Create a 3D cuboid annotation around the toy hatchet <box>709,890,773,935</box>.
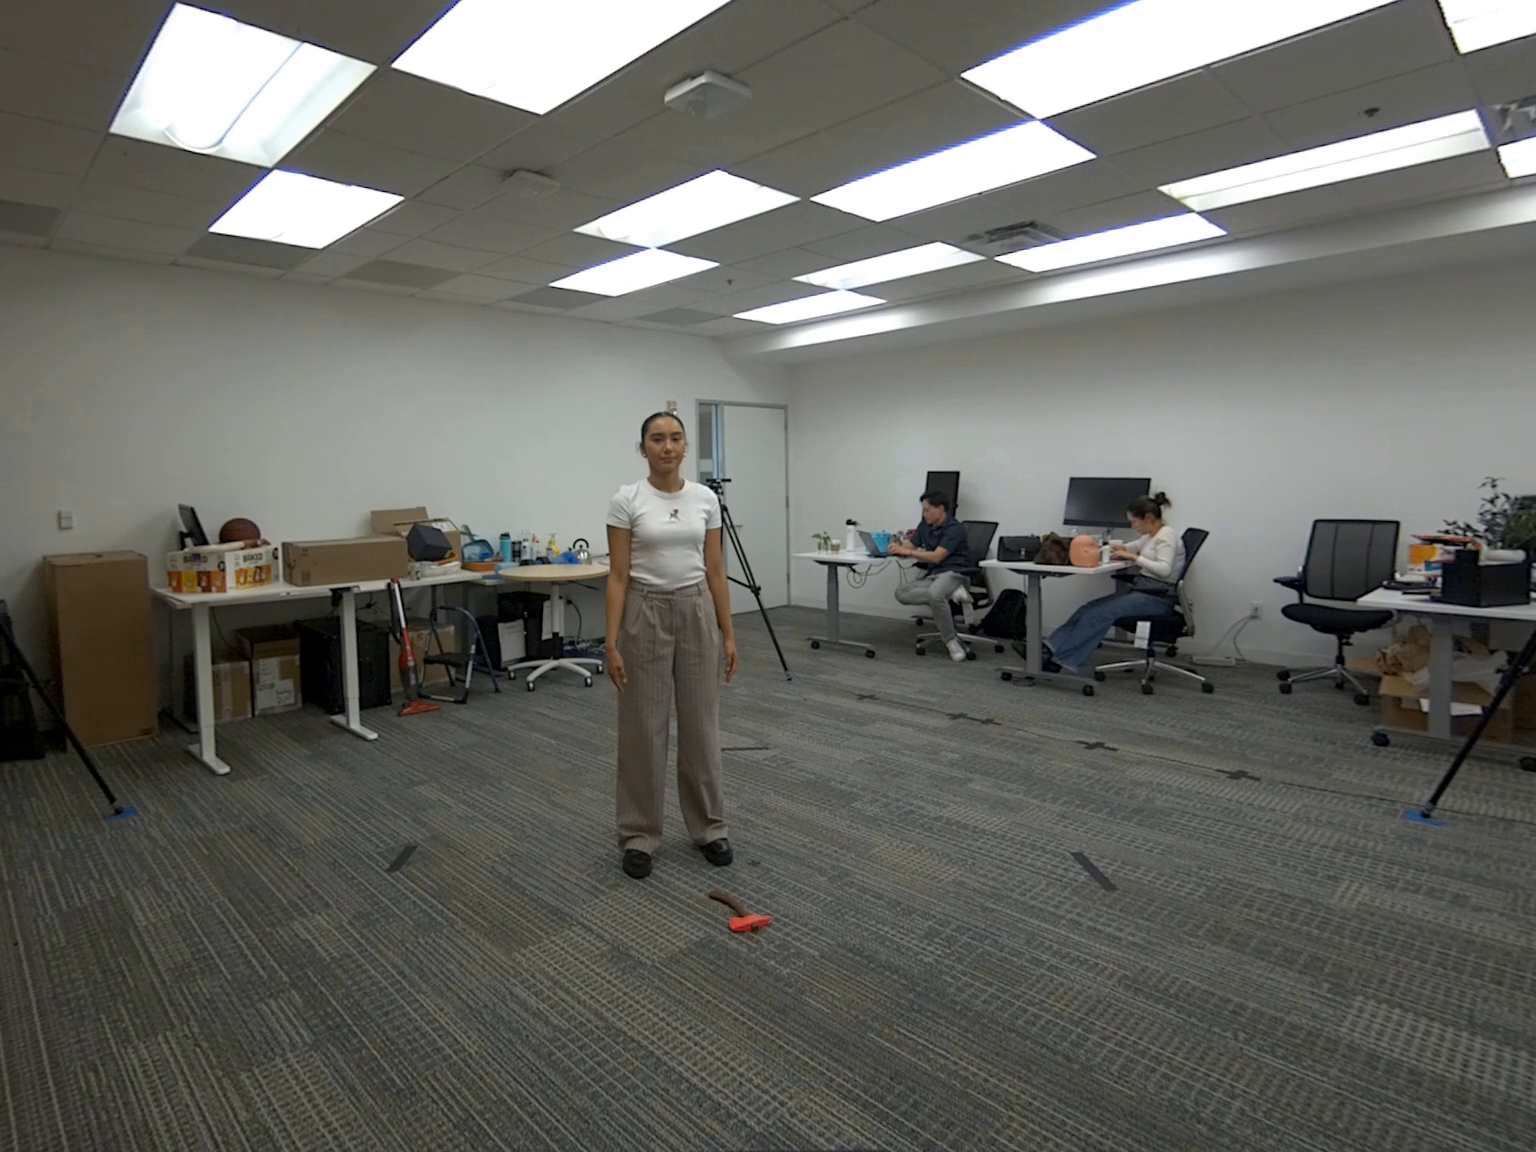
[{"bbox_3d":[-0.117,1.077,2.737,0.128,0.029,0.278,-10,9,-40],"label":"toy hatchet"}]
